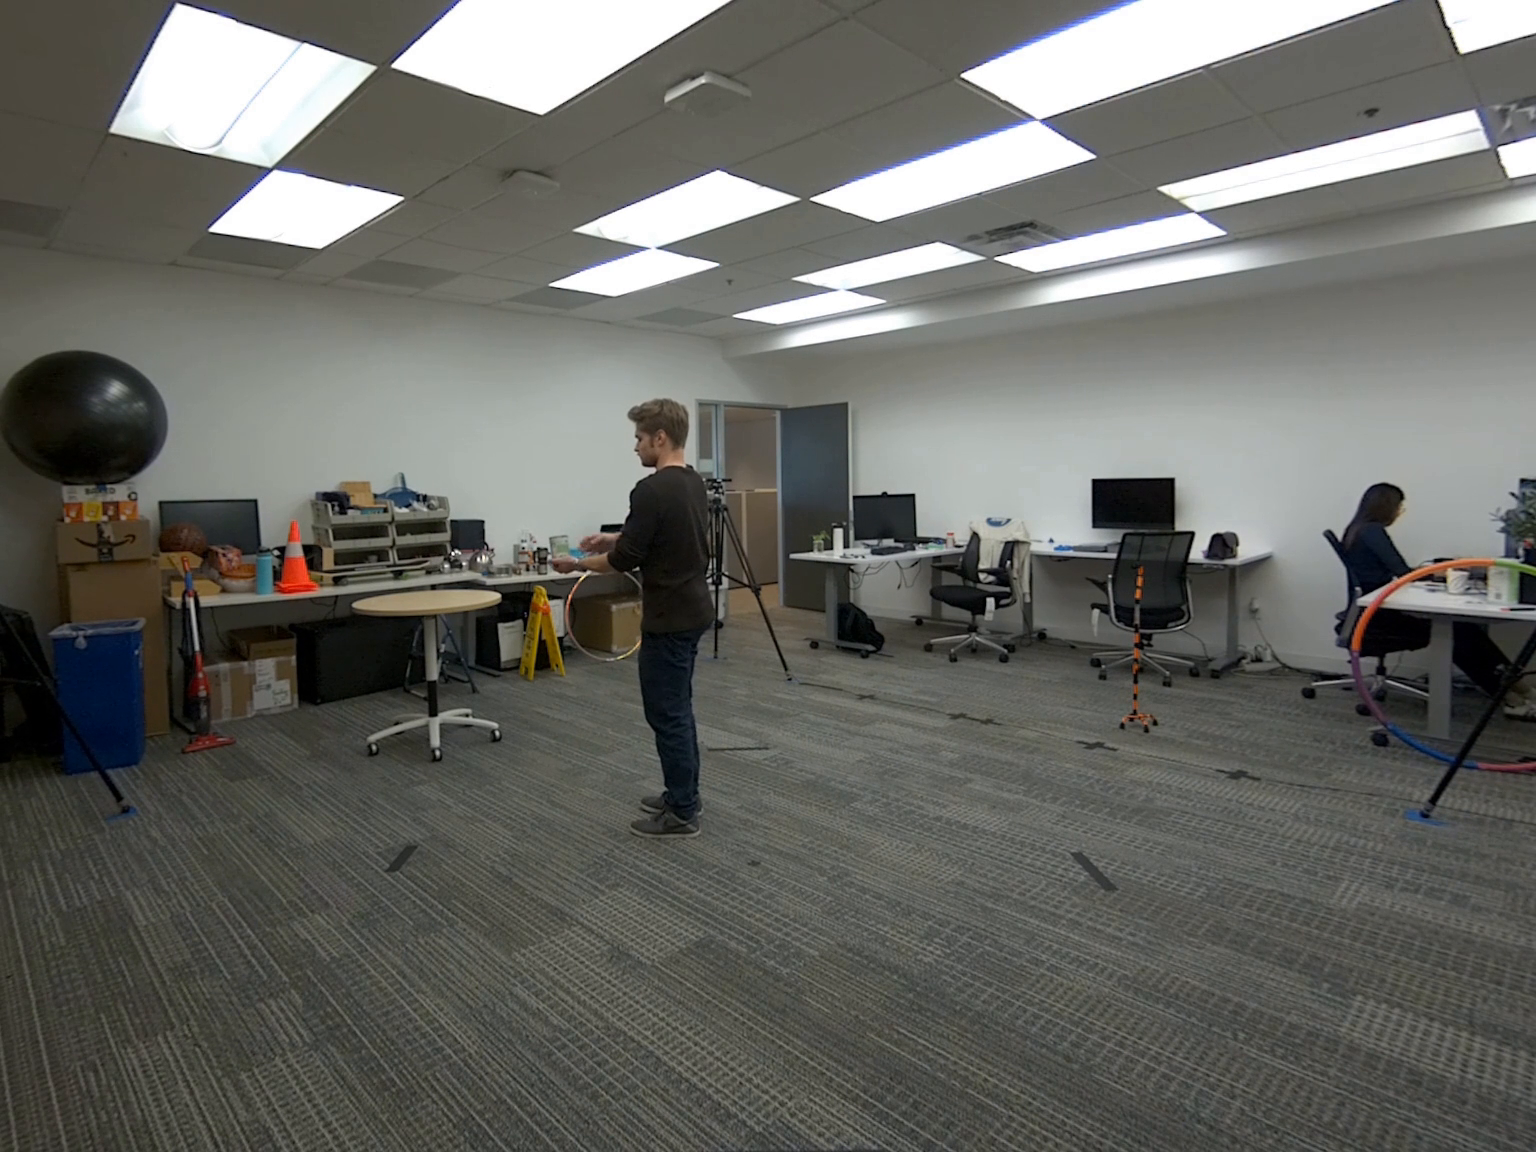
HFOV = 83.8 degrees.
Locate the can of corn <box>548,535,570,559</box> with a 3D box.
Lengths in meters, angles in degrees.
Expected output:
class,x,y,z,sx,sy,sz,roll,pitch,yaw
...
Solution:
class,x,y,z,sx,sy,sz,roll,pitch,yaw
can of corn,-0.840,-0.108,3.461,0.074,0.111,0.074,-6,0,-2
